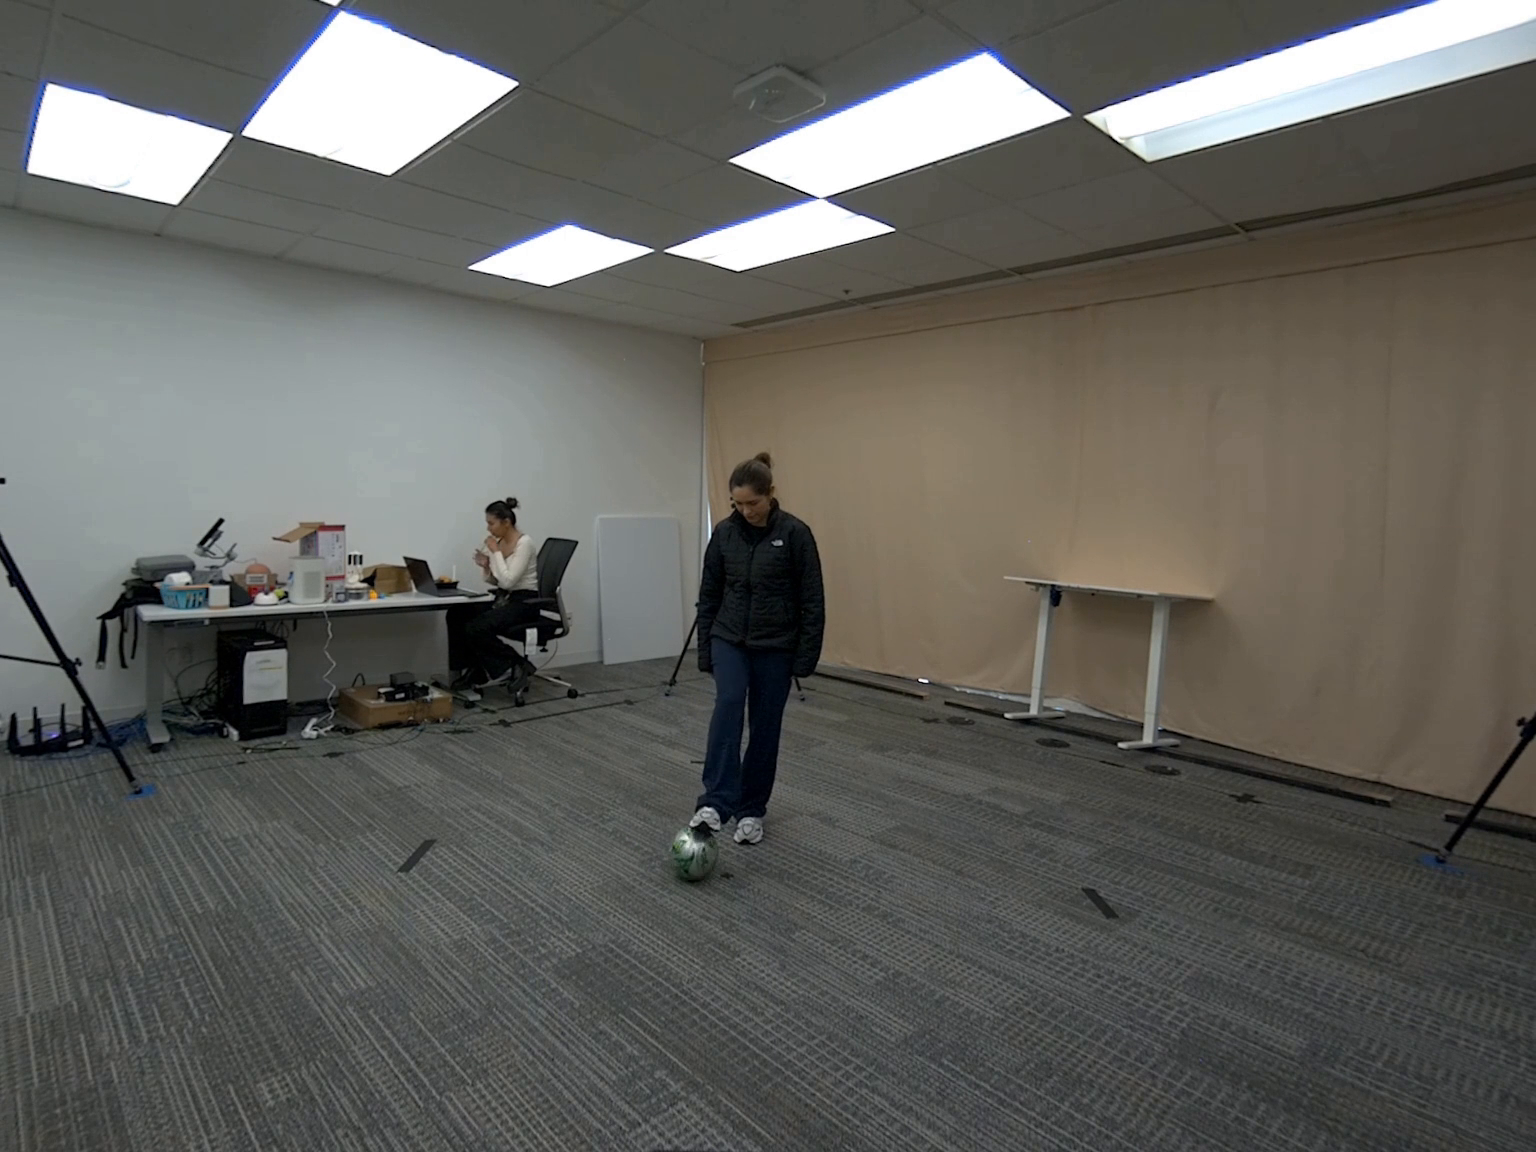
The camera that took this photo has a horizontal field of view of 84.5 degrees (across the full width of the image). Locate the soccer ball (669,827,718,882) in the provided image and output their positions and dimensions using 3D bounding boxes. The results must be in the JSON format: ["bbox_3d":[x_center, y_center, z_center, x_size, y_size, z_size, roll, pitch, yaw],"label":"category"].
[{"bbox_3d":[-0.281,1.009,3.090,0.187,0.187,0.188,1,4,-1],"label":"soccer ball"}]
